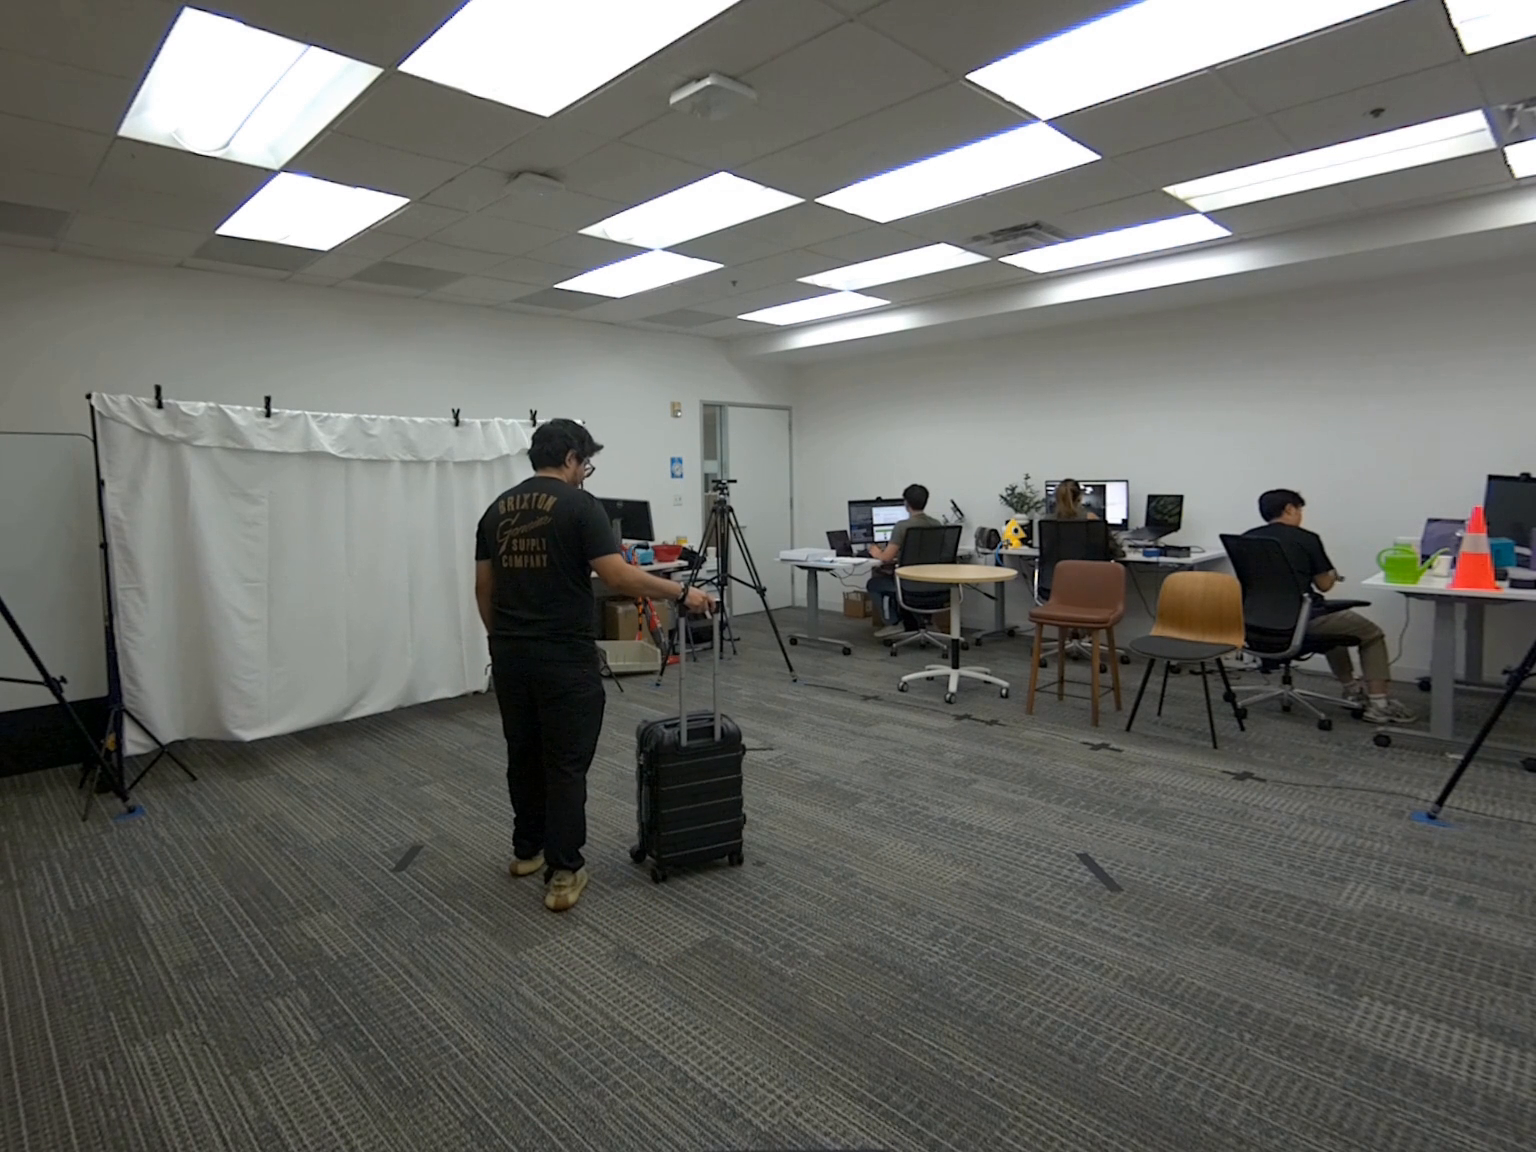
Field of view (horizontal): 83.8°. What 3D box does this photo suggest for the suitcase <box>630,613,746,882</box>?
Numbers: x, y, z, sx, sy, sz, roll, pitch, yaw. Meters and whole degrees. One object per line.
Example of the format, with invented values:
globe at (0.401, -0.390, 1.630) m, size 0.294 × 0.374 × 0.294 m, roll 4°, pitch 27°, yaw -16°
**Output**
suitcase at (-0.284, 0.573, 3.090) m, size 0.376 × 0.975 × 0.263 m, roll 0°, pitch 4°, yaw -24°
